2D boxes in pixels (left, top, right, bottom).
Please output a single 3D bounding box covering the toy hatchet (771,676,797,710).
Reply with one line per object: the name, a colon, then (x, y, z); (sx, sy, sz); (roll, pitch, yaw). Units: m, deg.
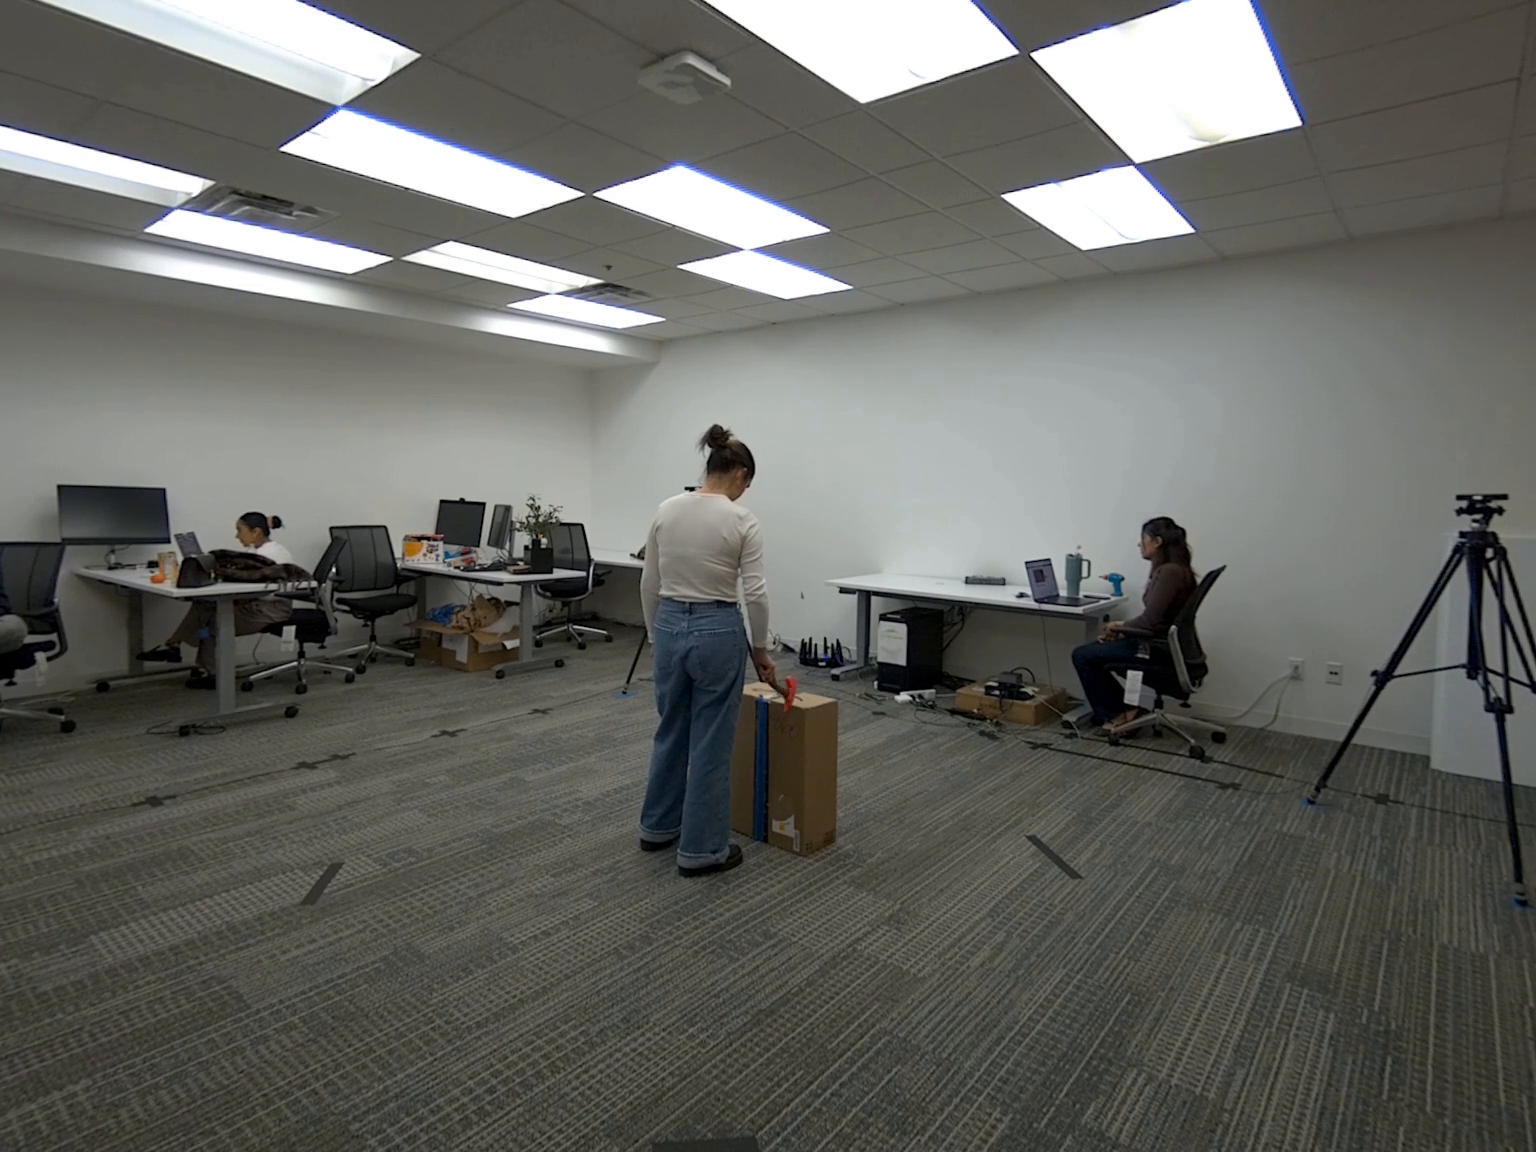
toy hatchet: (0.050, 0.377, 3.193); (0.030, 0.132, 0.259); (7, -36, 38)
